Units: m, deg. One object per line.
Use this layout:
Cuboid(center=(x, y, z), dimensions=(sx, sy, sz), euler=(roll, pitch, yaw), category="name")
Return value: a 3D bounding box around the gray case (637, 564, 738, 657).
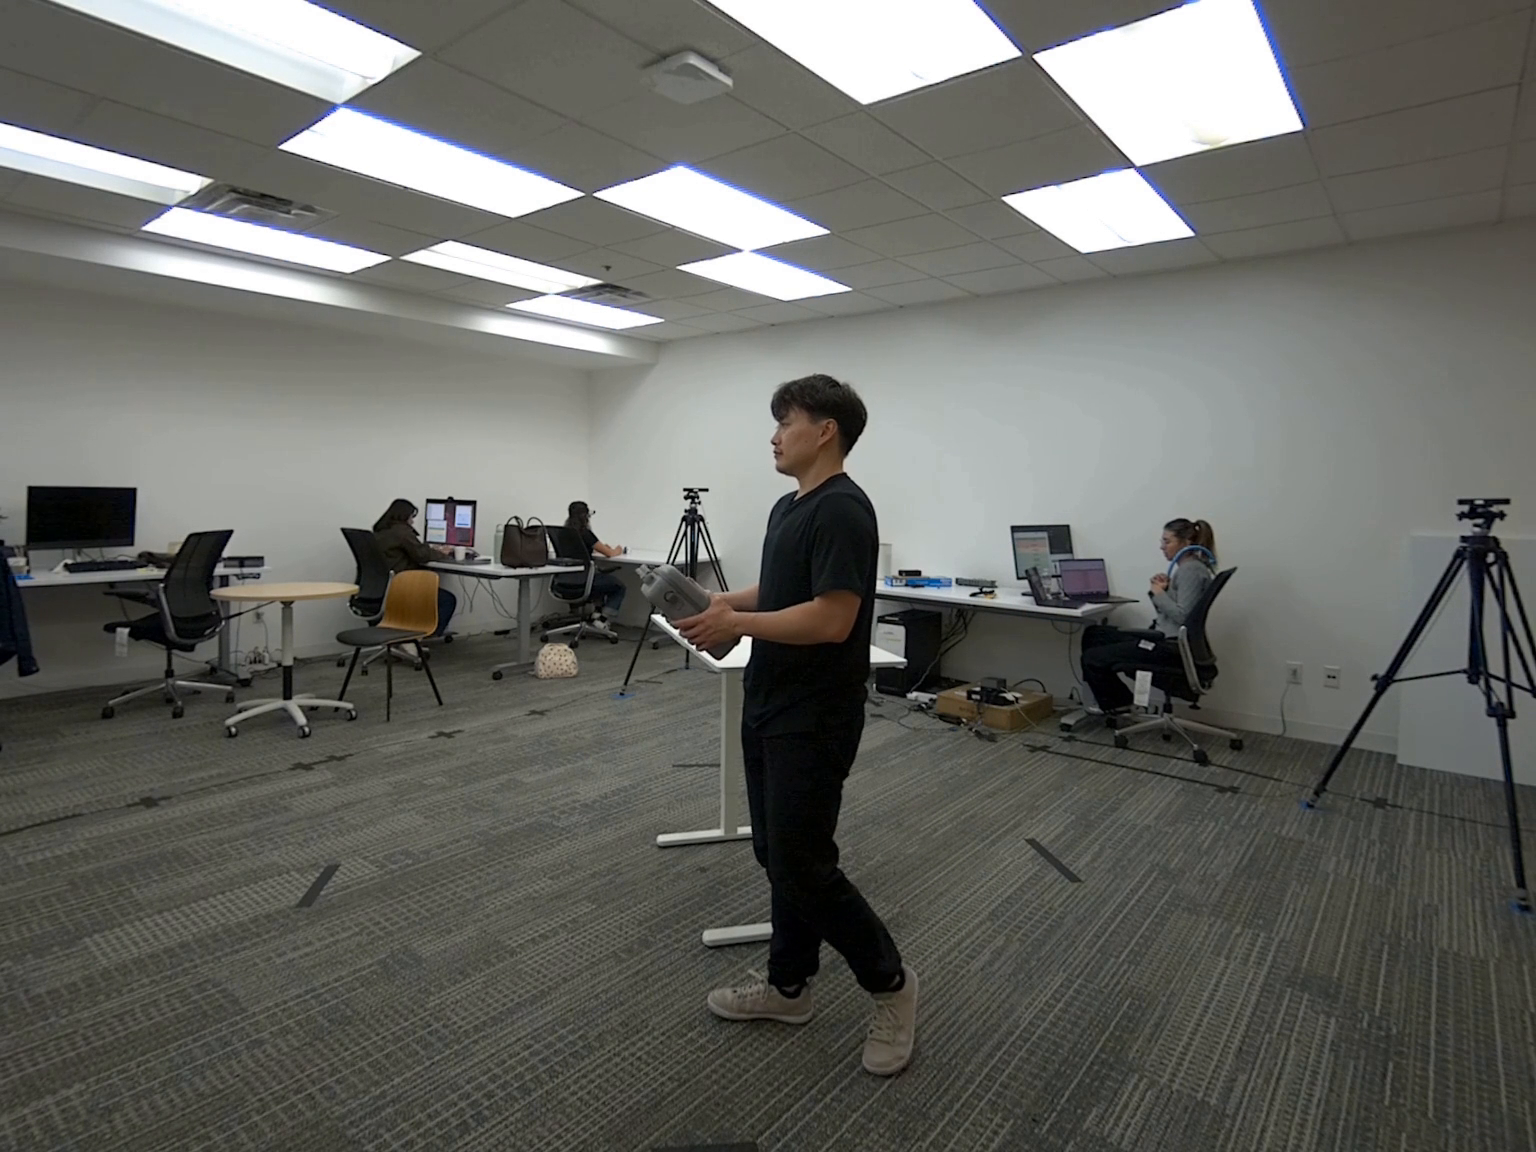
Cuboid(center=(-0.205, 0.079, 2.132), dimensions=(0.258, 0.104, 0.259), euler=(42, -4, -8), category="gray case")
